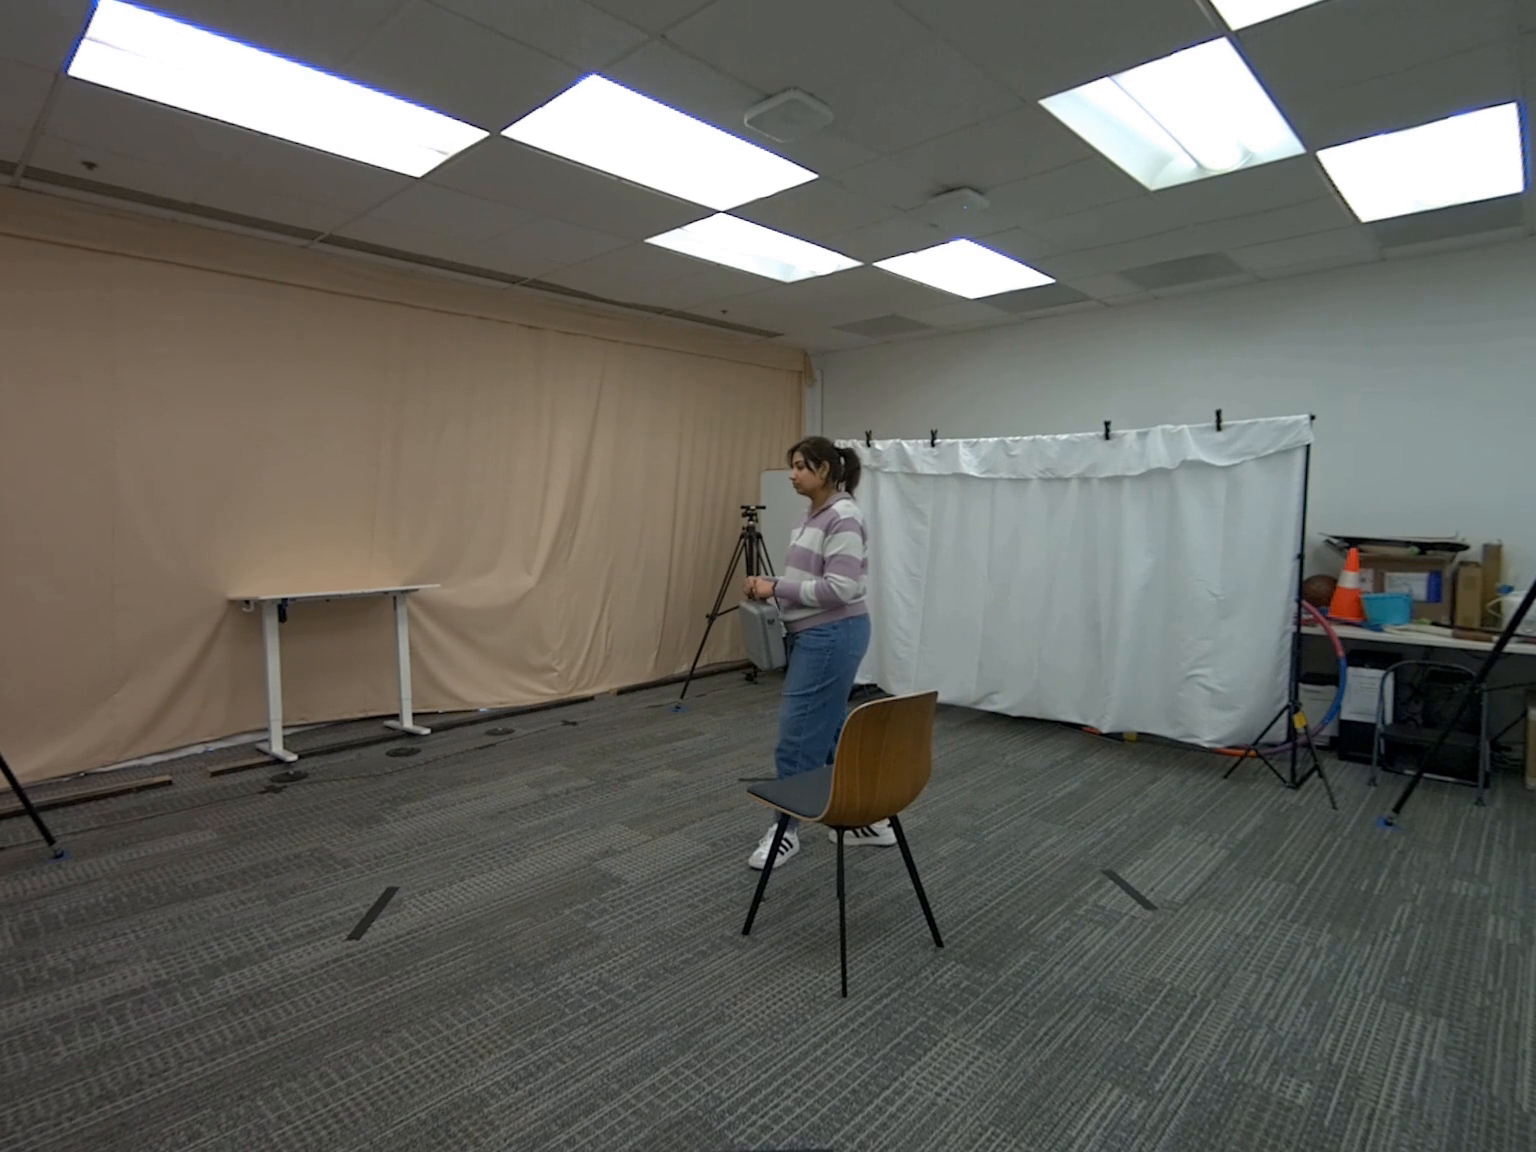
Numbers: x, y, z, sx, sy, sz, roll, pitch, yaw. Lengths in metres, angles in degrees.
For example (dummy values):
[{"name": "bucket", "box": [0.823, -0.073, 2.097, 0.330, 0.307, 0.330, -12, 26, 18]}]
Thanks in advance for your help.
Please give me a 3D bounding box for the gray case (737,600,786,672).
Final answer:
[{"name": "gray case", "box": [-0.025, 0.223, 3.364, 0.103, 0.259, 0.262, -11, 10, -17]}]
